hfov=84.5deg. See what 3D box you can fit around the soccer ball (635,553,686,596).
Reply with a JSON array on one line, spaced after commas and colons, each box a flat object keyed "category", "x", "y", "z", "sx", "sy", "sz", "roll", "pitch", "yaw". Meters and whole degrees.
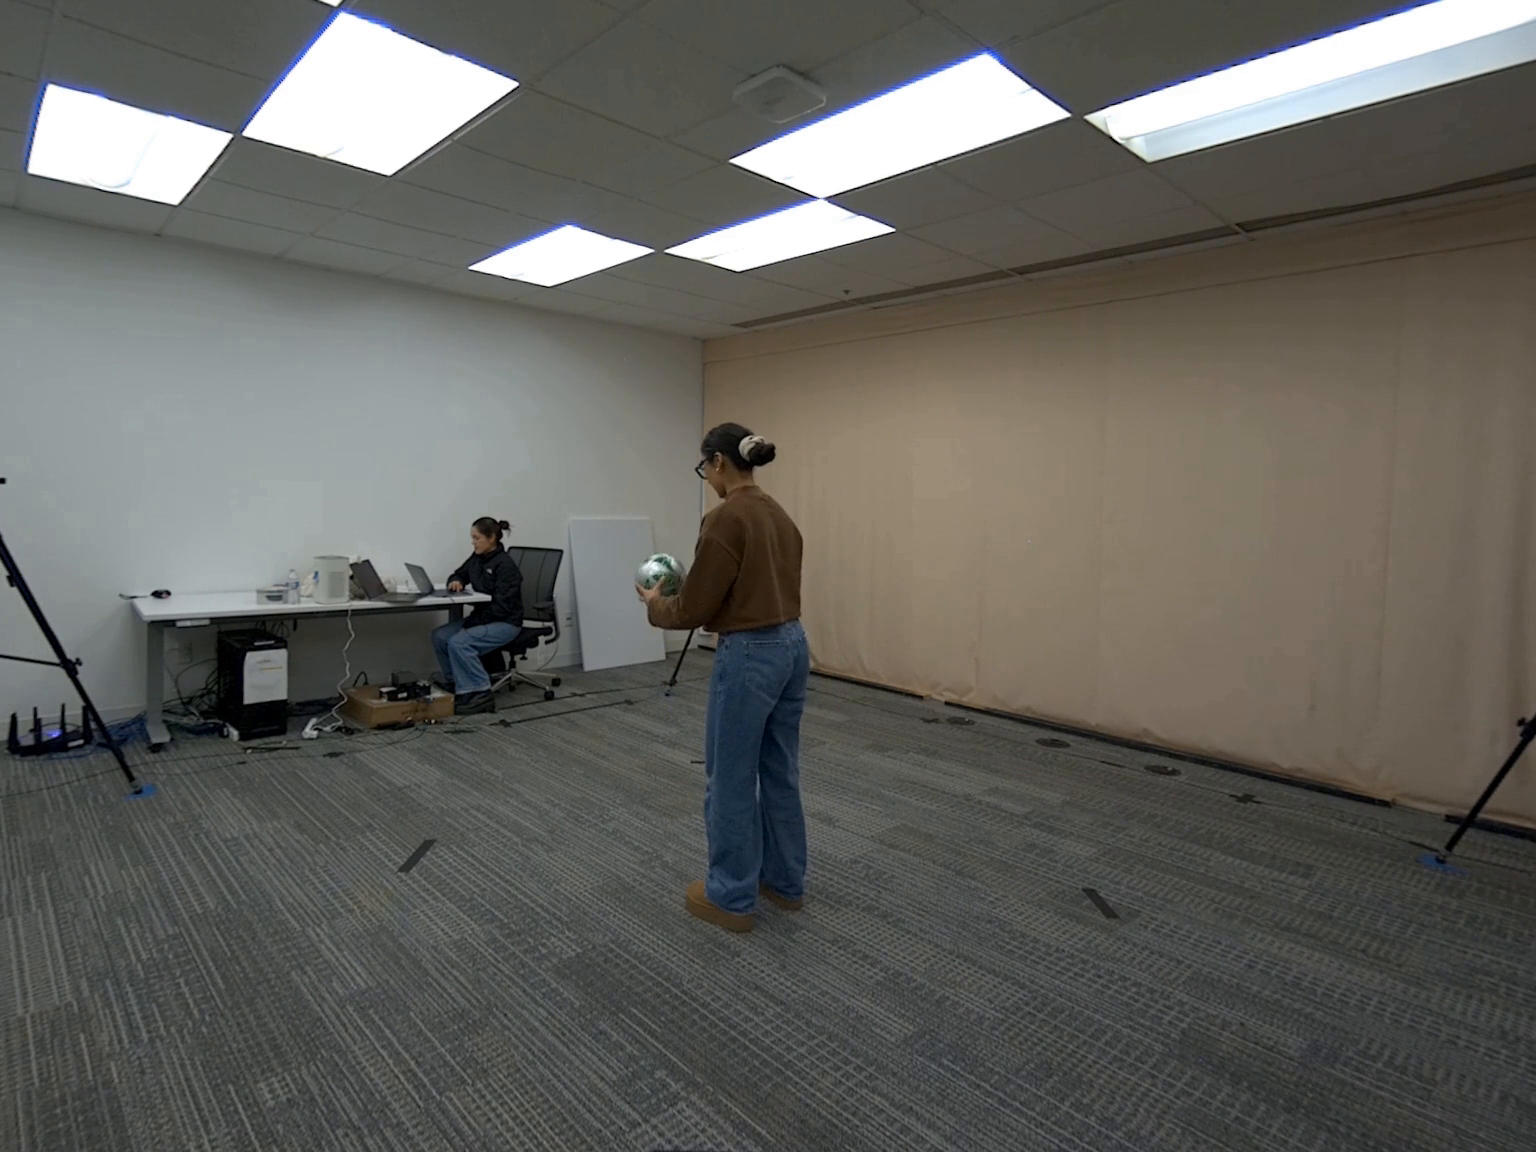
[{"category": "soccer ball", "x": -0.370, "y": 0.017, "z": 2.987, "sx": 0.187, "sy": 0.187, "sz": 0.188, "roll": 1, "pitch": 4, "yaw": -1}]
